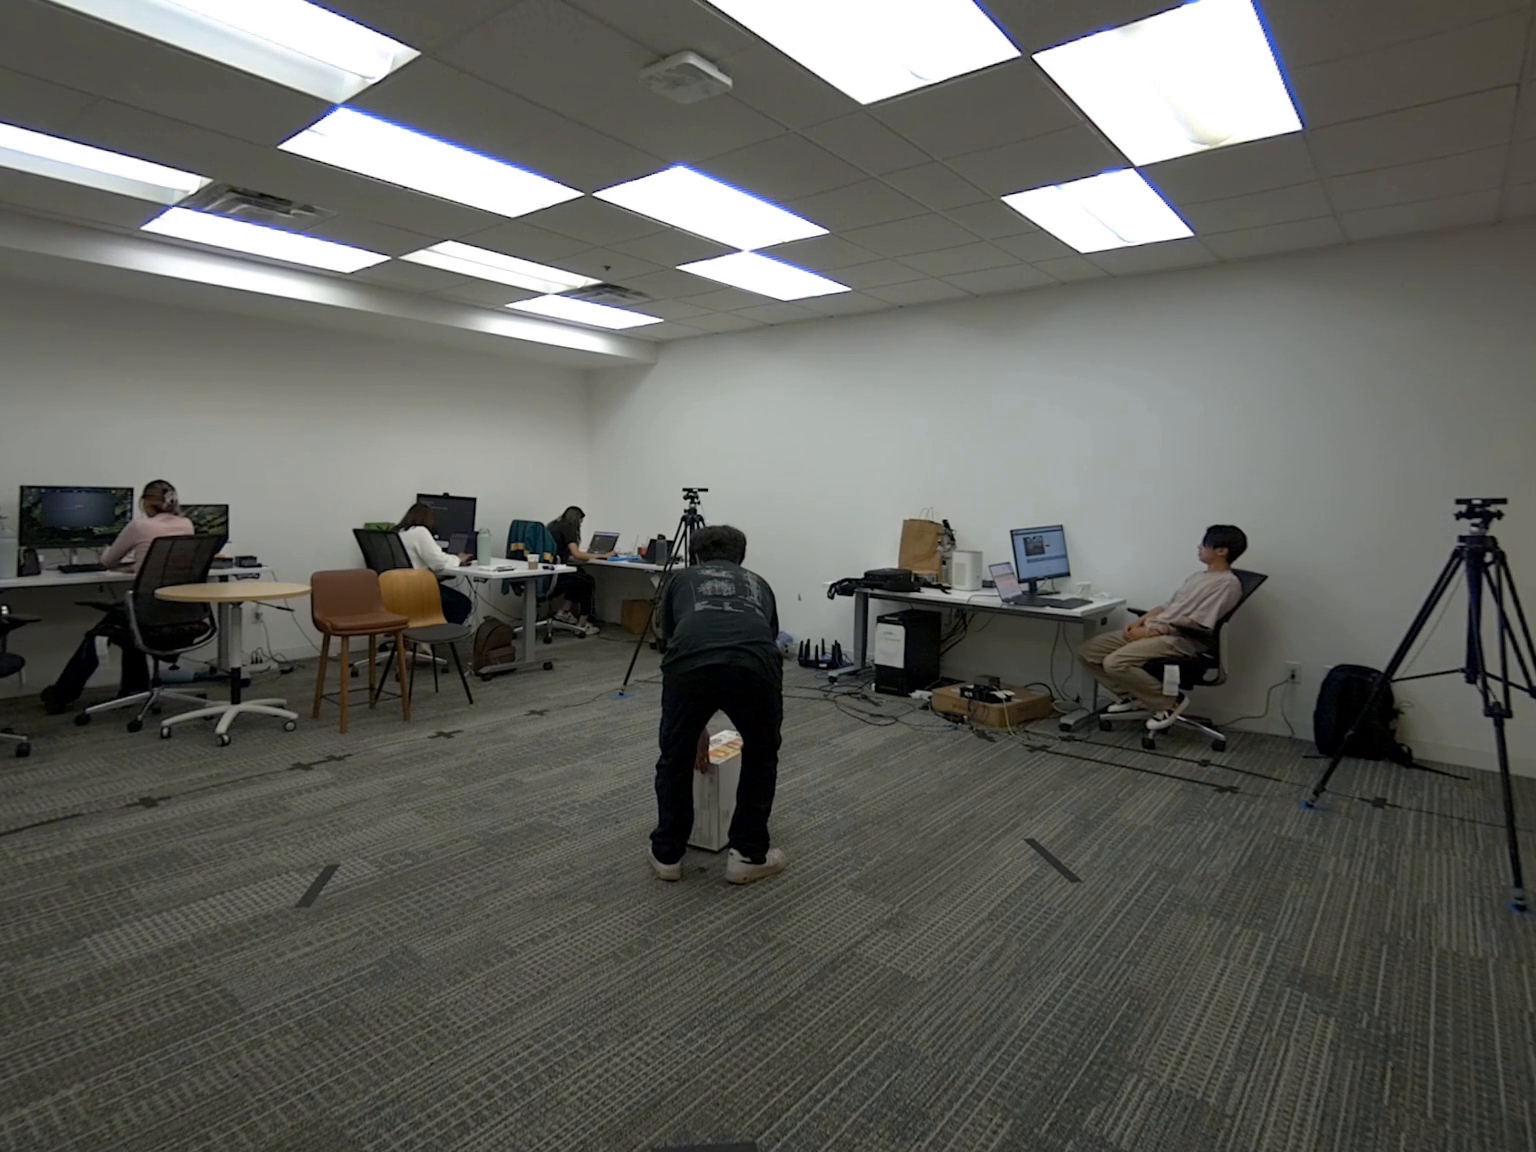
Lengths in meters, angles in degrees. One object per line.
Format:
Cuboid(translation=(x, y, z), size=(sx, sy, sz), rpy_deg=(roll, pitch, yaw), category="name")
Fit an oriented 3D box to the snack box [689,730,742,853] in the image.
Cuboid(translation=(-0.195, 0.840, 3.434), size=(0.211, 0.339, 0.396), rpy_deg=(2, 6, 28), category="snack box")
